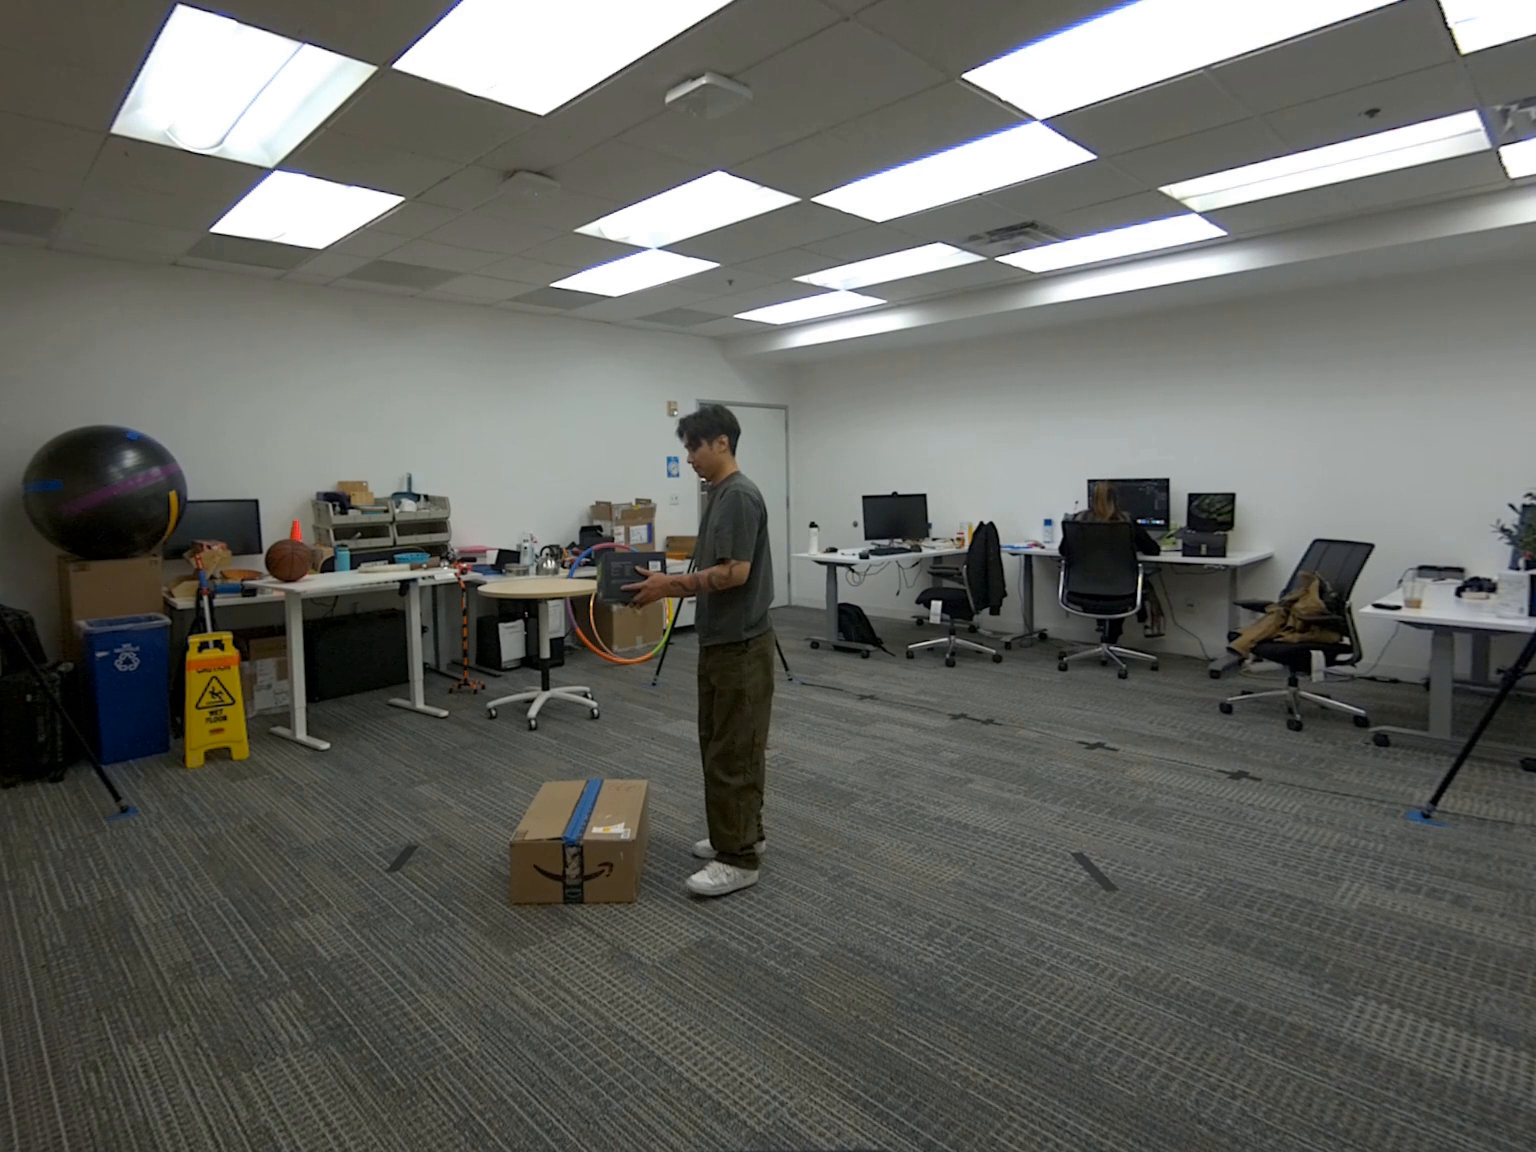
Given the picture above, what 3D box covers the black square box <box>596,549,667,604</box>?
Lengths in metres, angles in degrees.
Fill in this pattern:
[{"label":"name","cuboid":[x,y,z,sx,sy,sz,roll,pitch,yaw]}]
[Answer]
[{"label":"black square box","cuboid":[-0.487,0.004,3.050,0.214,0.157,0.230,-1,-7,-17]}]
